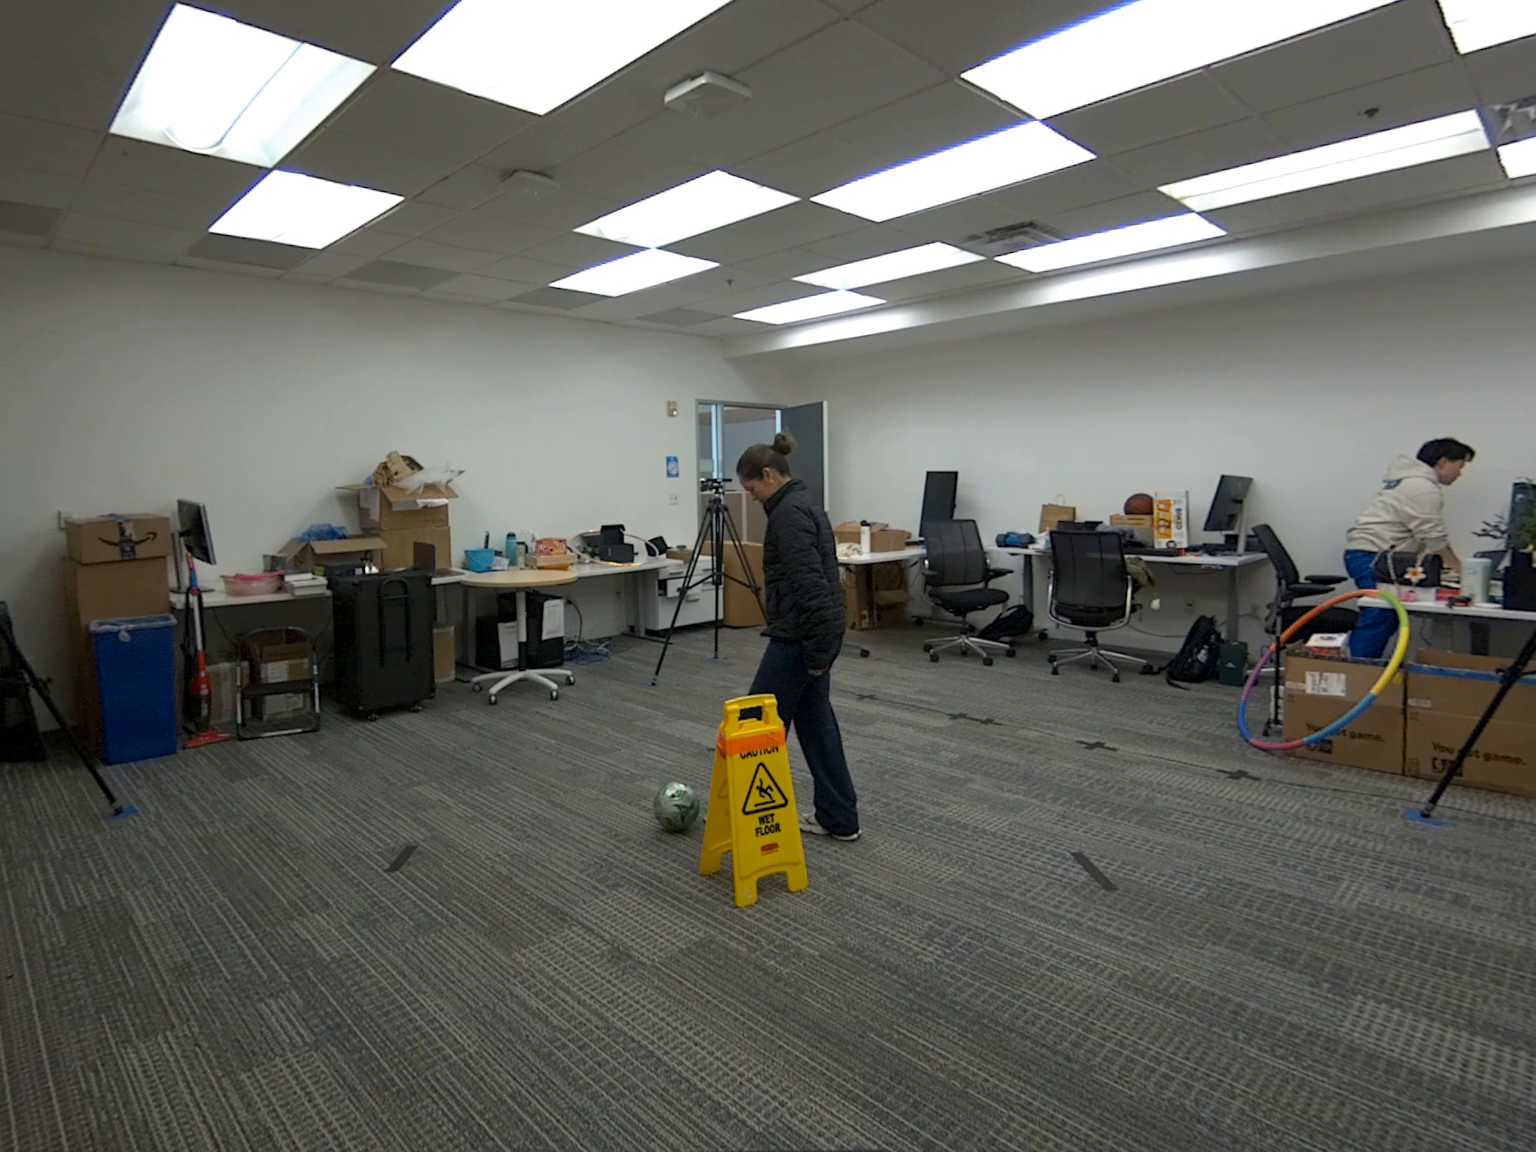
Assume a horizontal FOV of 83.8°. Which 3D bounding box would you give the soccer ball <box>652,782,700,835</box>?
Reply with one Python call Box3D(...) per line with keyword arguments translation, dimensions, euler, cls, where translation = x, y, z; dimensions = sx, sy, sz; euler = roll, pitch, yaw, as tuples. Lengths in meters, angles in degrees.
Box3D(translation=(-0.364, 0.917, 3.426), dimensions=(0.187, 0.187, 0.188), euler=(-1, 5, -2), cls="soccer ball")
